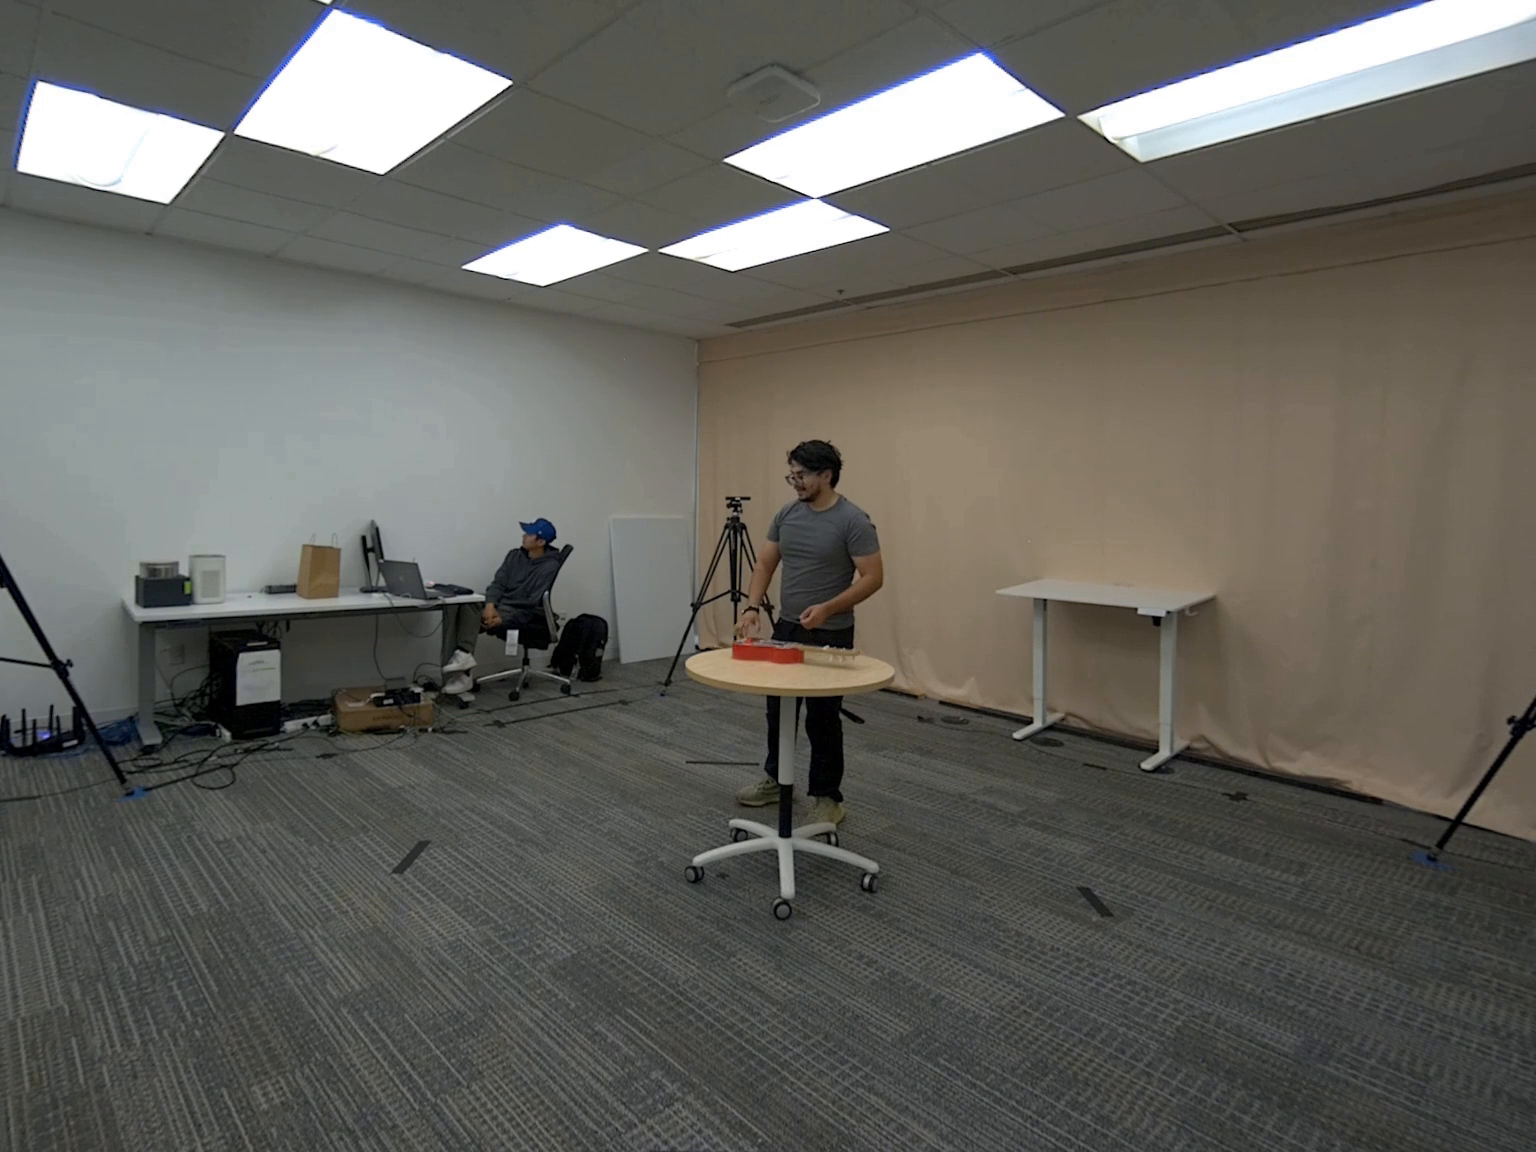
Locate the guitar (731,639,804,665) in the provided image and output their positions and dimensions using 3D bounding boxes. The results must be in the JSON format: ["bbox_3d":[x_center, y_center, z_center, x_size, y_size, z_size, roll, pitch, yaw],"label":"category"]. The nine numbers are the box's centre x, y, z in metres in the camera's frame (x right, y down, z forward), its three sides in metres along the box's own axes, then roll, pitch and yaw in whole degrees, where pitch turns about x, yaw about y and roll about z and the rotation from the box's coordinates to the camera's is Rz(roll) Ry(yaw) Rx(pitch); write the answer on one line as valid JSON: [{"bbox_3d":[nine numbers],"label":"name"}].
[{"bbox_3d":[0.068,0.288,3.151,0.510,0.070,0.188,5,4,37],"label":"guitar"}]
